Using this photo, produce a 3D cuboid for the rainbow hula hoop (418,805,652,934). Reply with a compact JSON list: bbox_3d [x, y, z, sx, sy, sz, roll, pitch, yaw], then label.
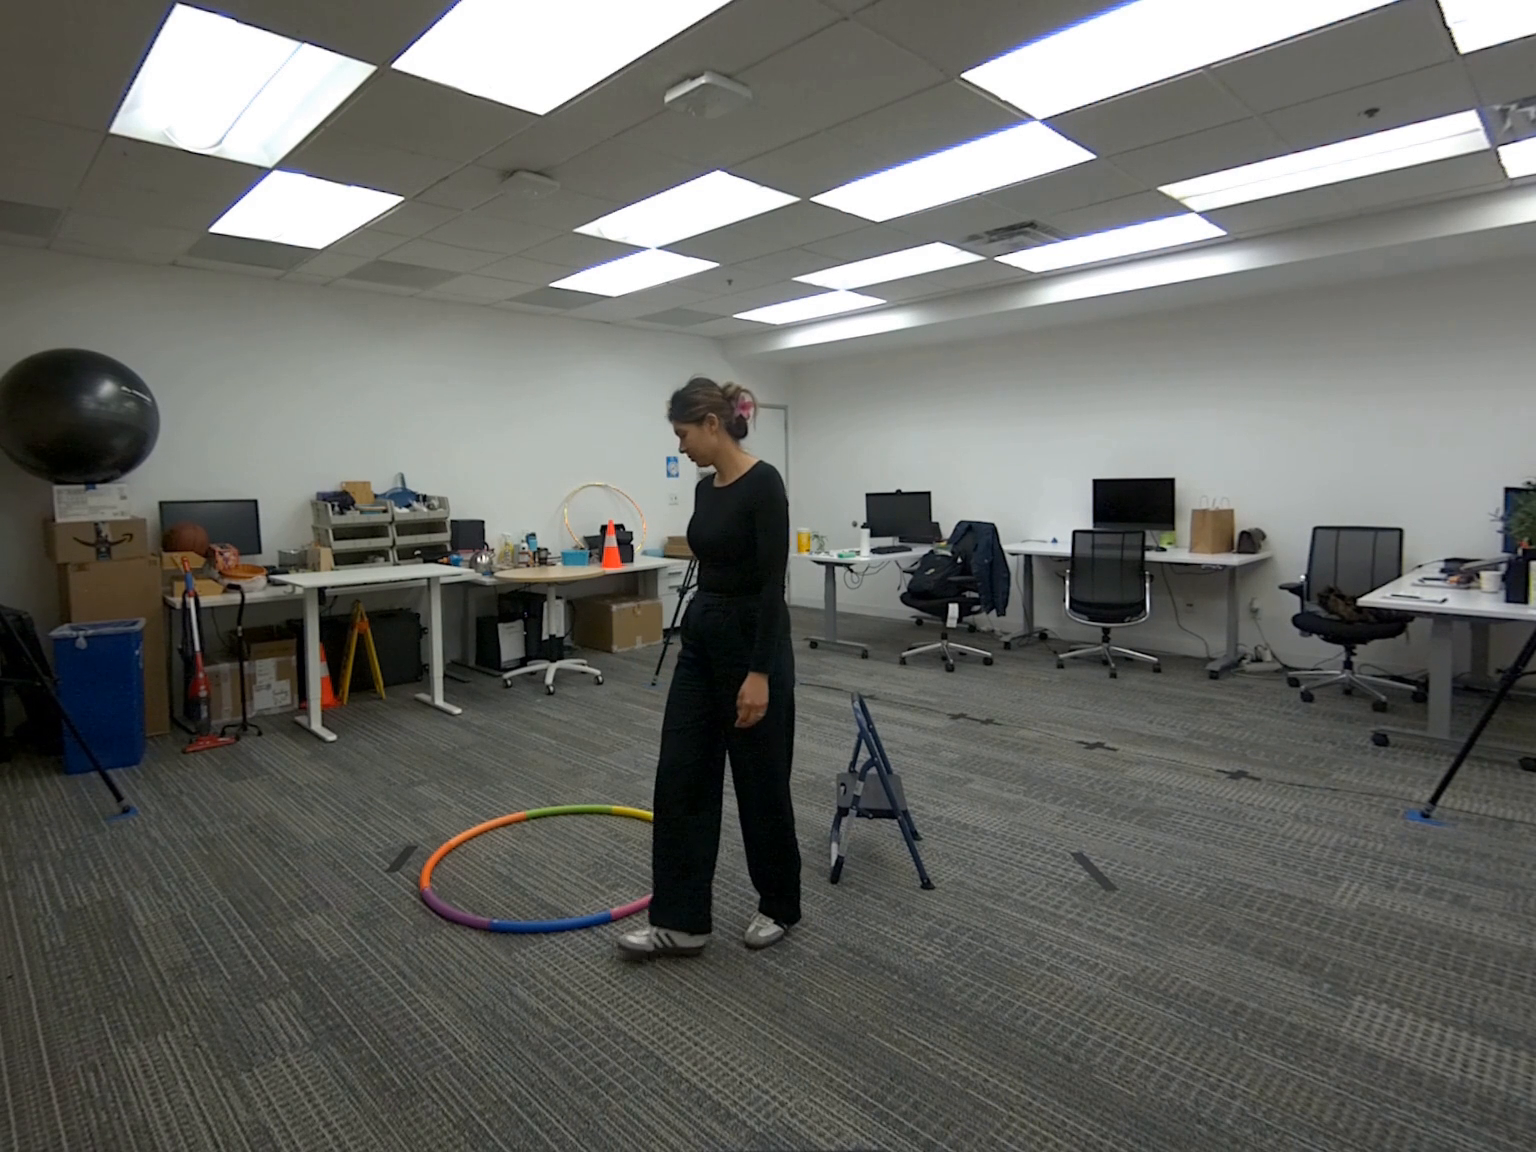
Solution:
[{"bbox_3d":[-0.748,1.021,3.131,0.978,0.035,0.984,-1,7,-2],"label":"rainbow hula hoop"}]
